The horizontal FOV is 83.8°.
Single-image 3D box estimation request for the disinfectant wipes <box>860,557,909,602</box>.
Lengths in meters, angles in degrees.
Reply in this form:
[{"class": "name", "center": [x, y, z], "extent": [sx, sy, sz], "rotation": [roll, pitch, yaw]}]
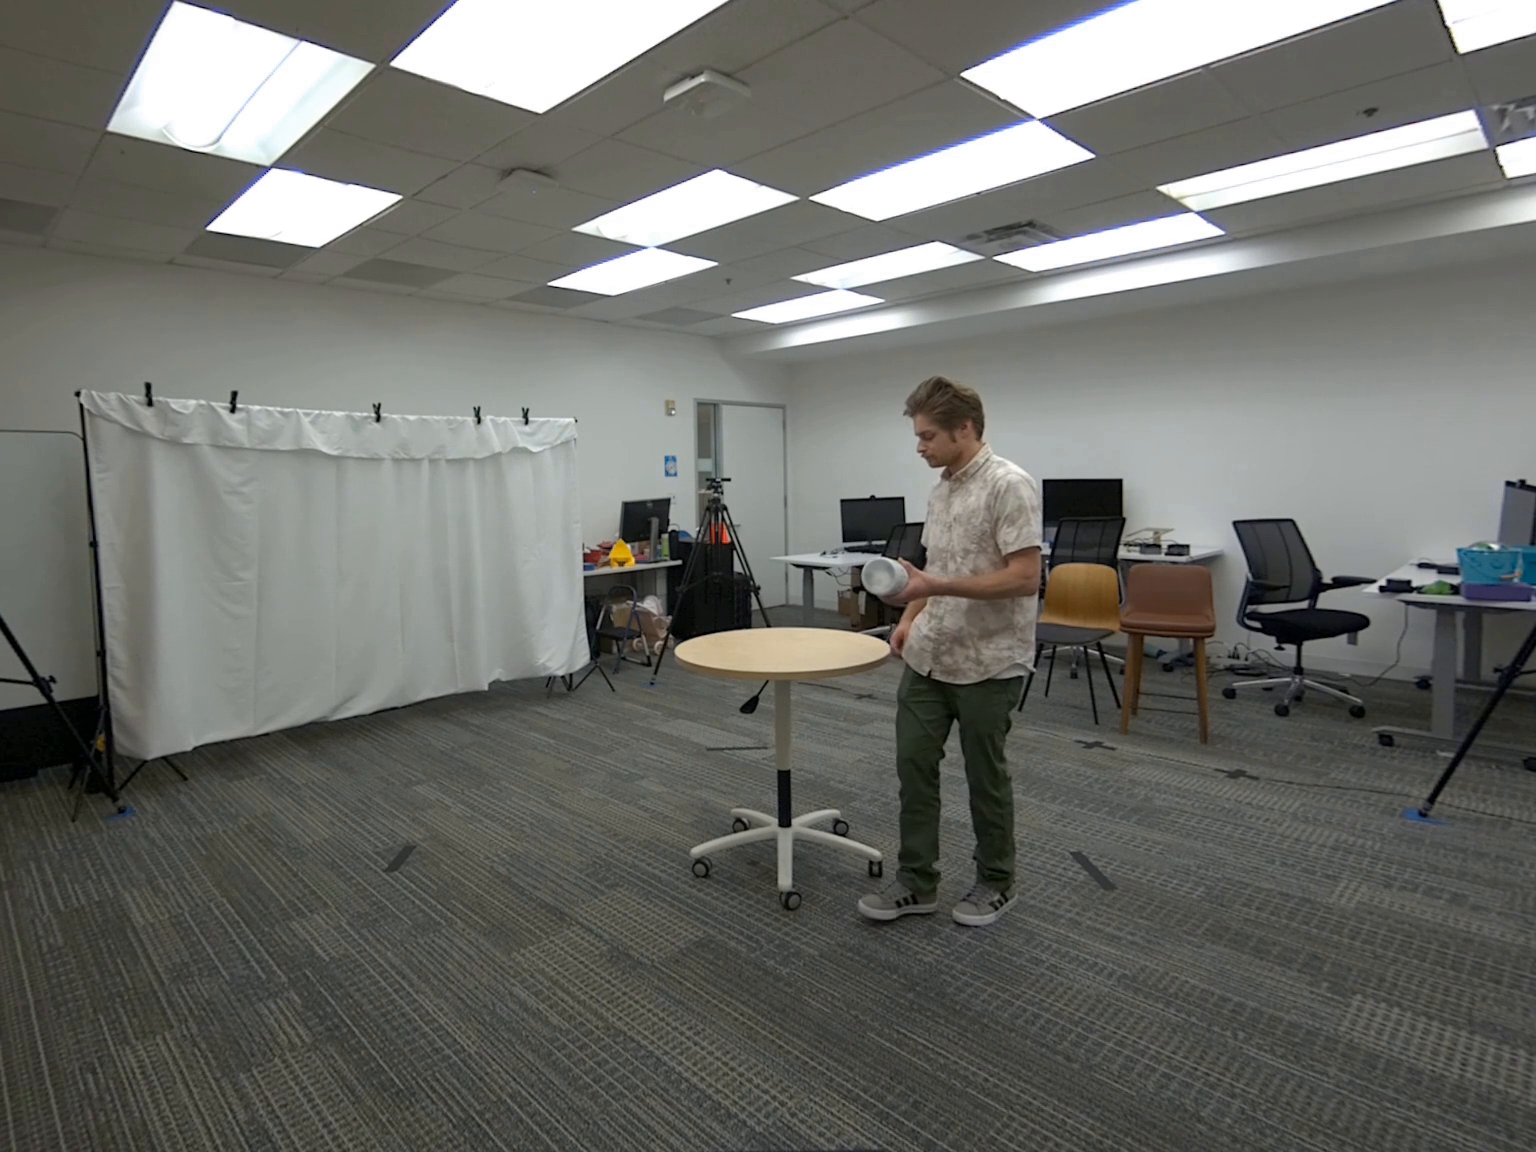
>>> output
[{"class": "disinfectant wipes", "center": [0.358, 0.004, 2.485], "extent": [0.120, 0.118, 0.212], "rotation": [1, -3, 25]}]
